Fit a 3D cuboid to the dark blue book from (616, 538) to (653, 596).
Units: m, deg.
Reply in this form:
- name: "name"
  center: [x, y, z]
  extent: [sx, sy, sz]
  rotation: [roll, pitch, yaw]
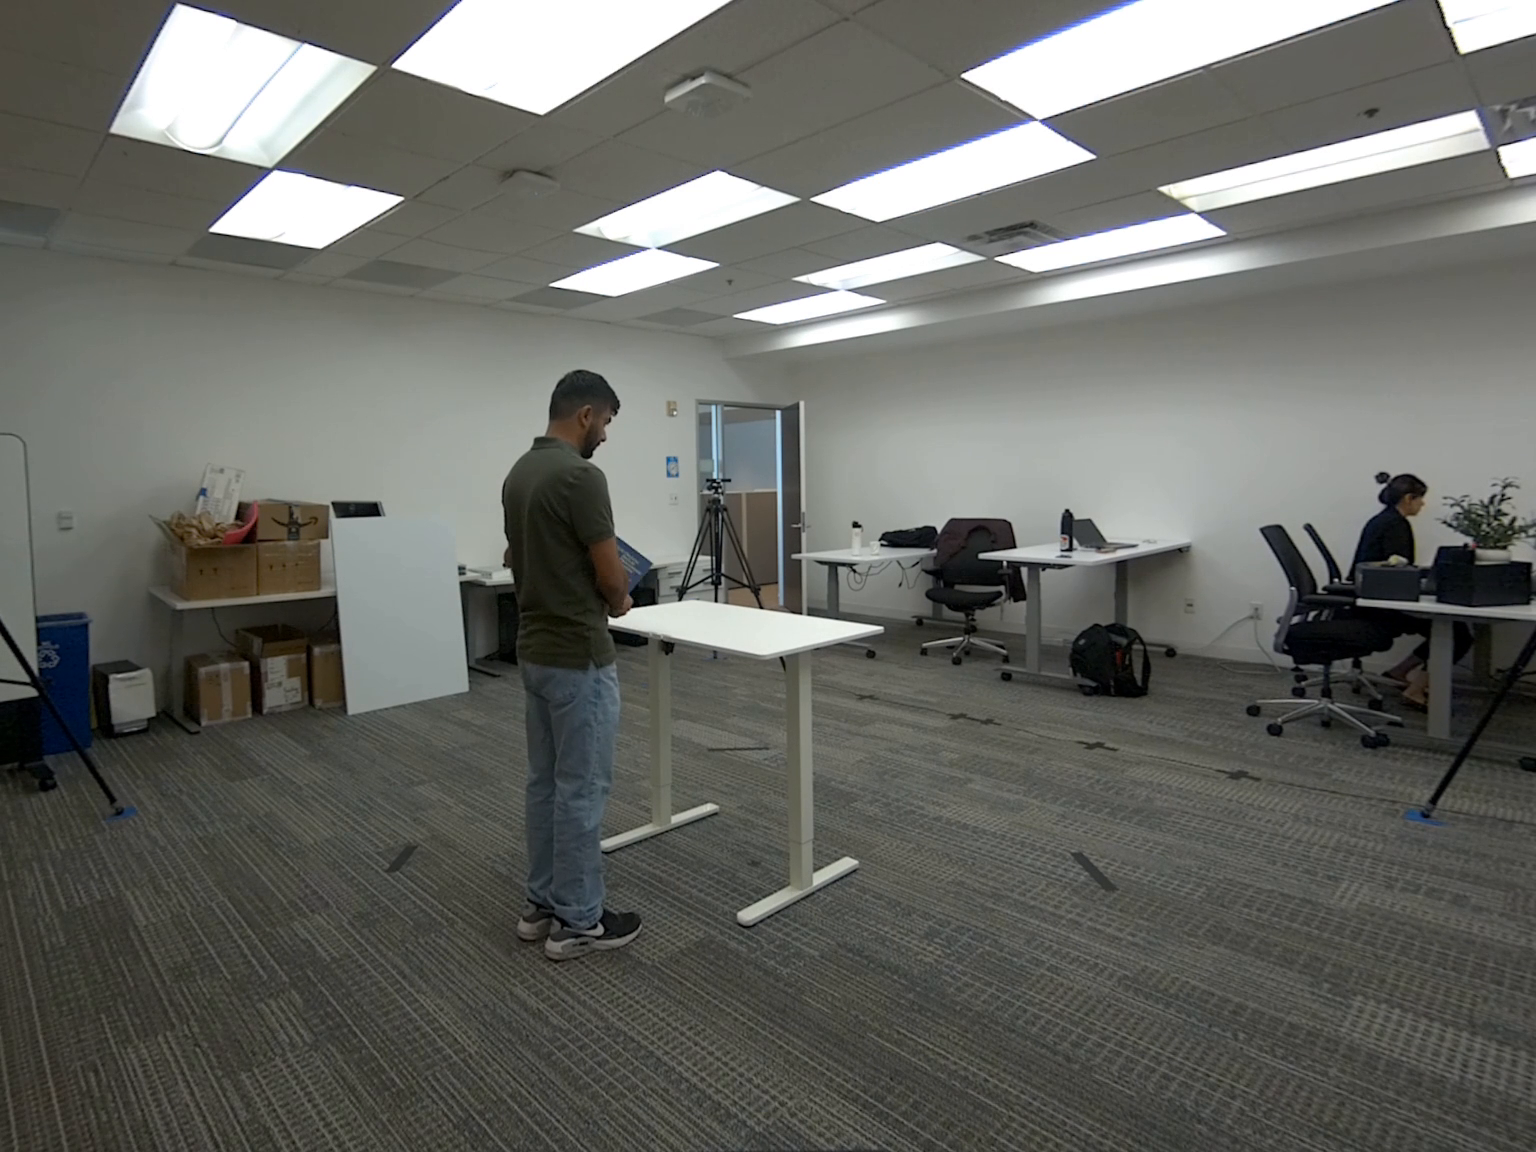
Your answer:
- name: "dark blue book"
  center: [-0.519, -0.004, 2.852]
  extent: [0.246, 0.164, 0.045]
  rotation: [-51, -3, -41]
